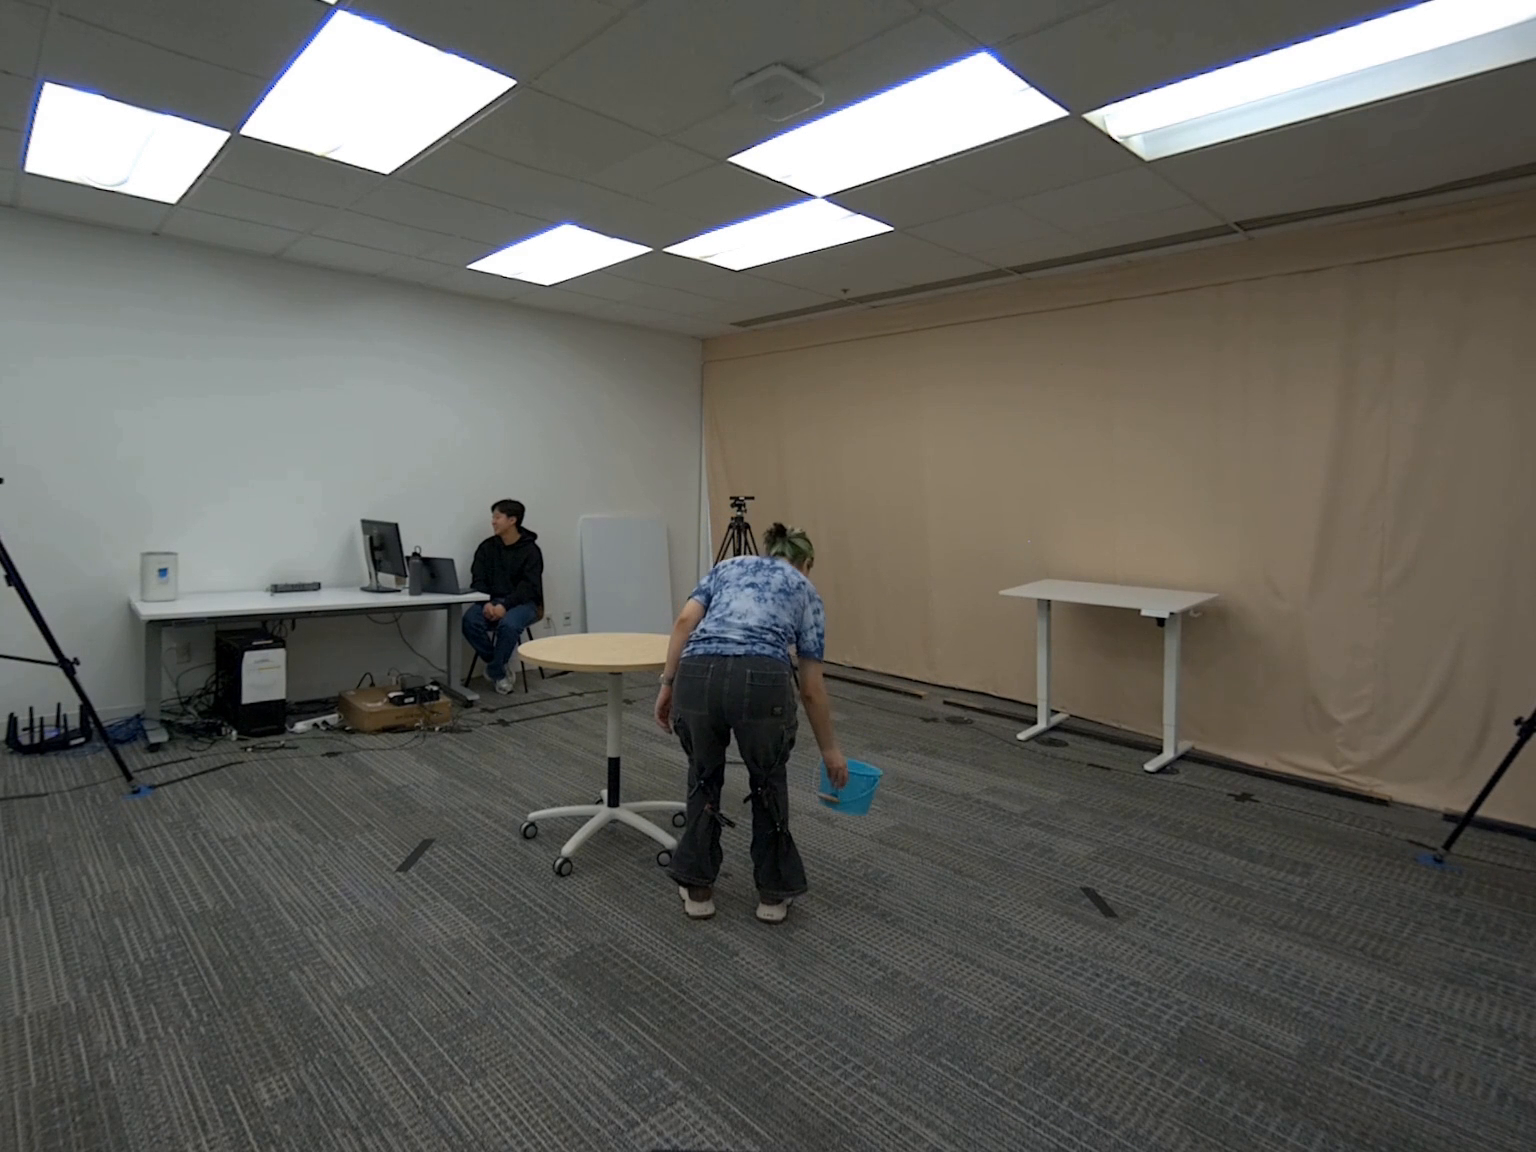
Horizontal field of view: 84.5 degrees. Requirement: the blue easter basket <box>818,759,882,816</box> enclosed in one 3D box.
[{"bbox_3d":[0.283,0.759,3.050,0.243,0.156,0.243,11,-2,-1],"label":"blue easter basket"}]
